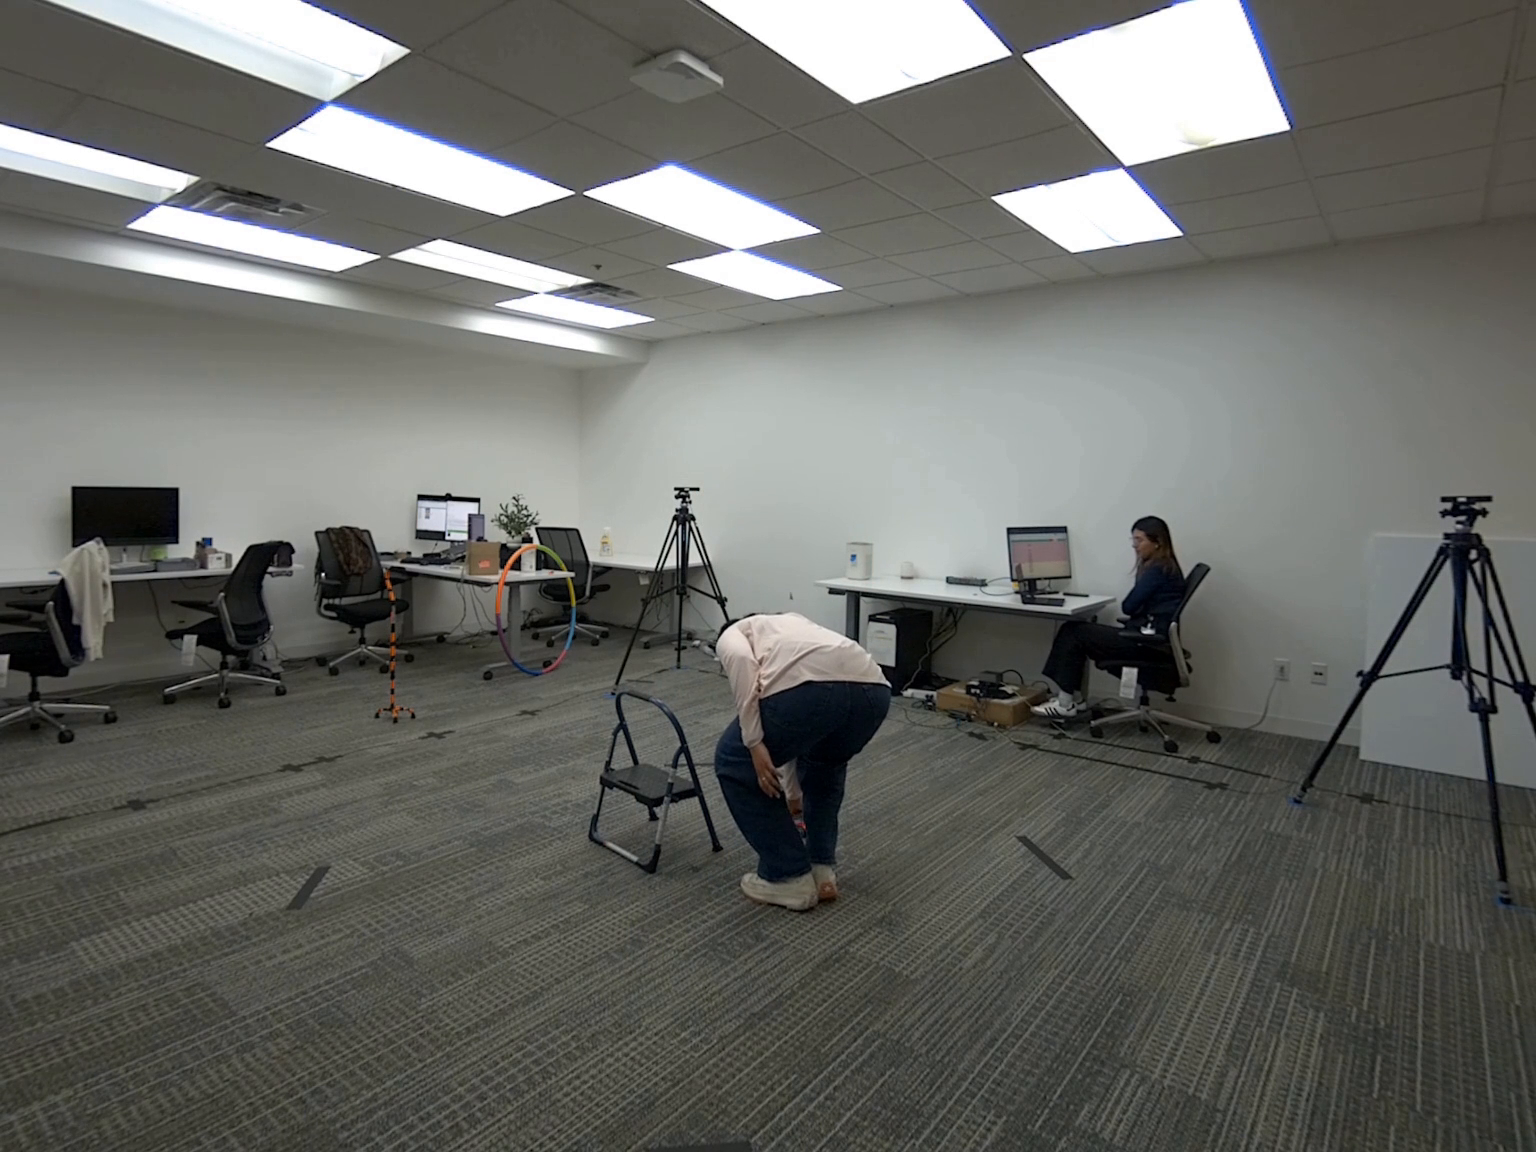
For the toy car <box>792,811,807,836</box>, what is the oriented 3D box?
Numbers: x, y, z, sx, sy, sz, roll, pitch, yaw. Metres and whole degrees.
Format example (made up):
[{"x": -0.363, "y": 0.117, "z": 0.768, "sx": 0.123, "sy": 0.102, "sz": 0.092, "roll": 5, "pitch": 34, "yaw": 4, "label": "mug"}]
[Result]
[{"x": 0.086, "y": 0.991, "z": 3.505, "sx": 0.126, "sy": 0.082, "sz": 0.265, "roll": -3, "pitch": 19, "yaw": -45, "label": "toy car"}]
